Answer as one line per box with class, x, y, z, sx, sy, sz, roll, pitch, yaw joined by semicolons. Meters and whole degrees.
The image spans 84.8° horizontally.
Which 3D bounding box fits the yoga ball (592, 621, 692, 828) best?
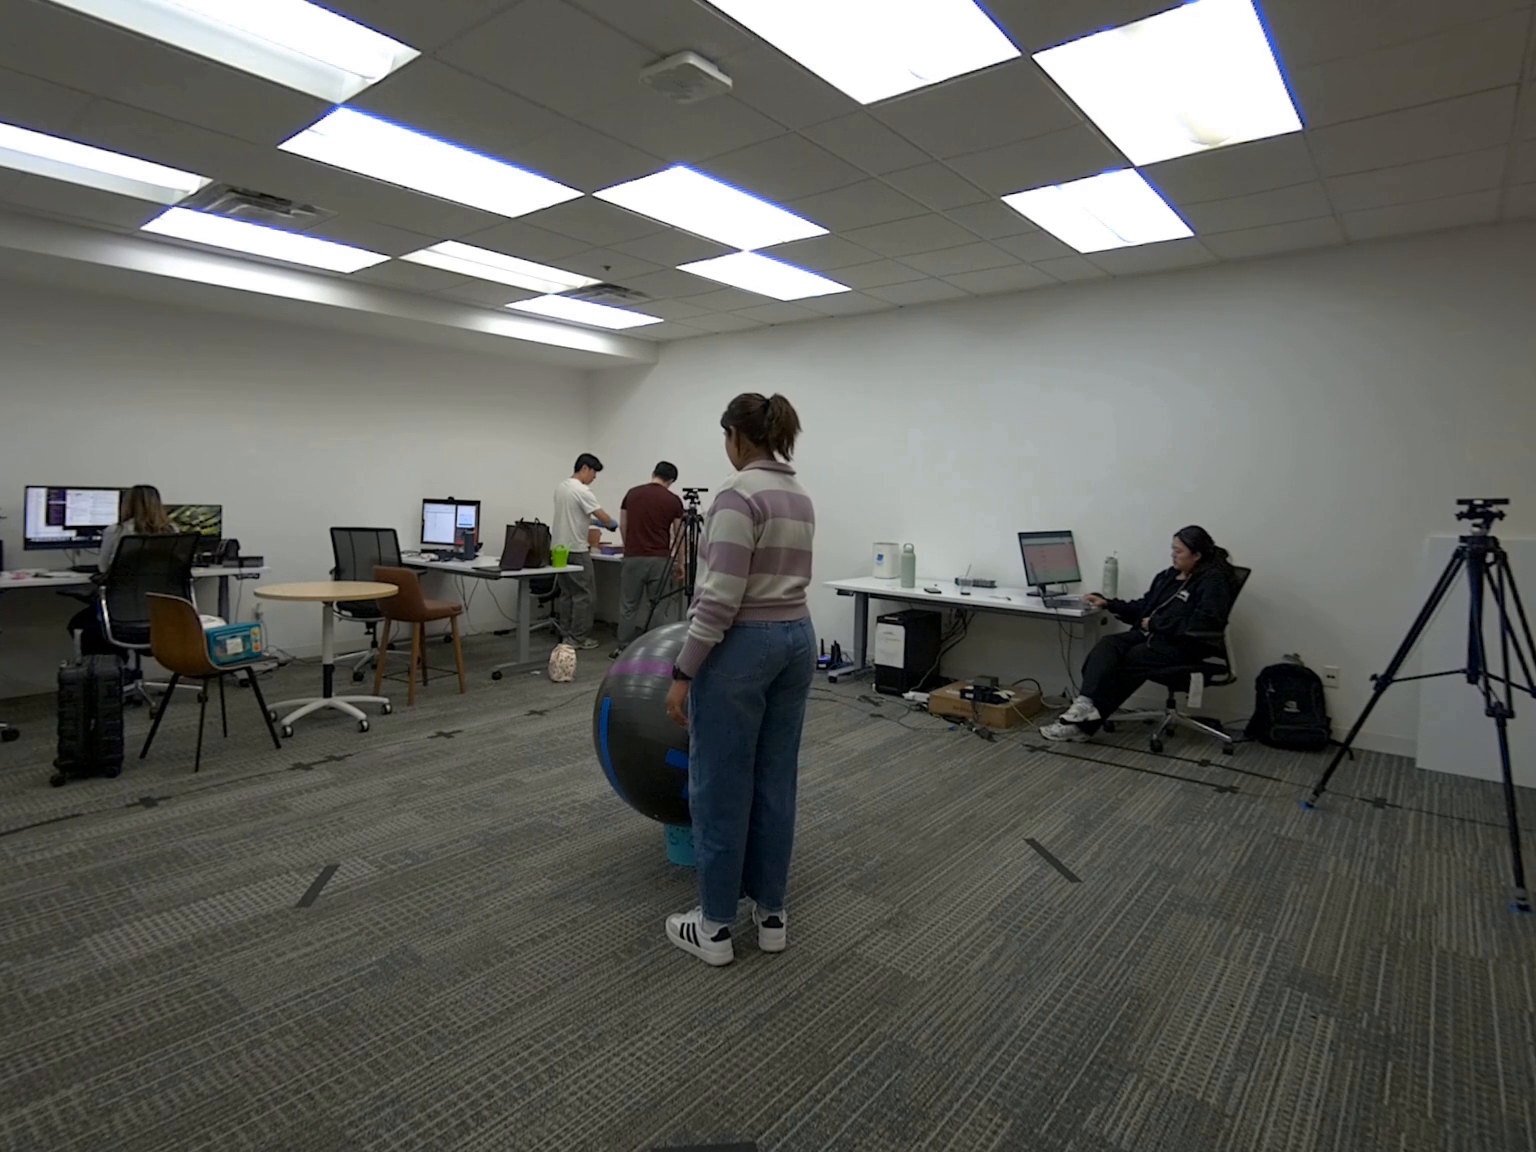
yoga ball;-0.294;0.547;3.208;0.757;0.756;0.762;1;4;-2
